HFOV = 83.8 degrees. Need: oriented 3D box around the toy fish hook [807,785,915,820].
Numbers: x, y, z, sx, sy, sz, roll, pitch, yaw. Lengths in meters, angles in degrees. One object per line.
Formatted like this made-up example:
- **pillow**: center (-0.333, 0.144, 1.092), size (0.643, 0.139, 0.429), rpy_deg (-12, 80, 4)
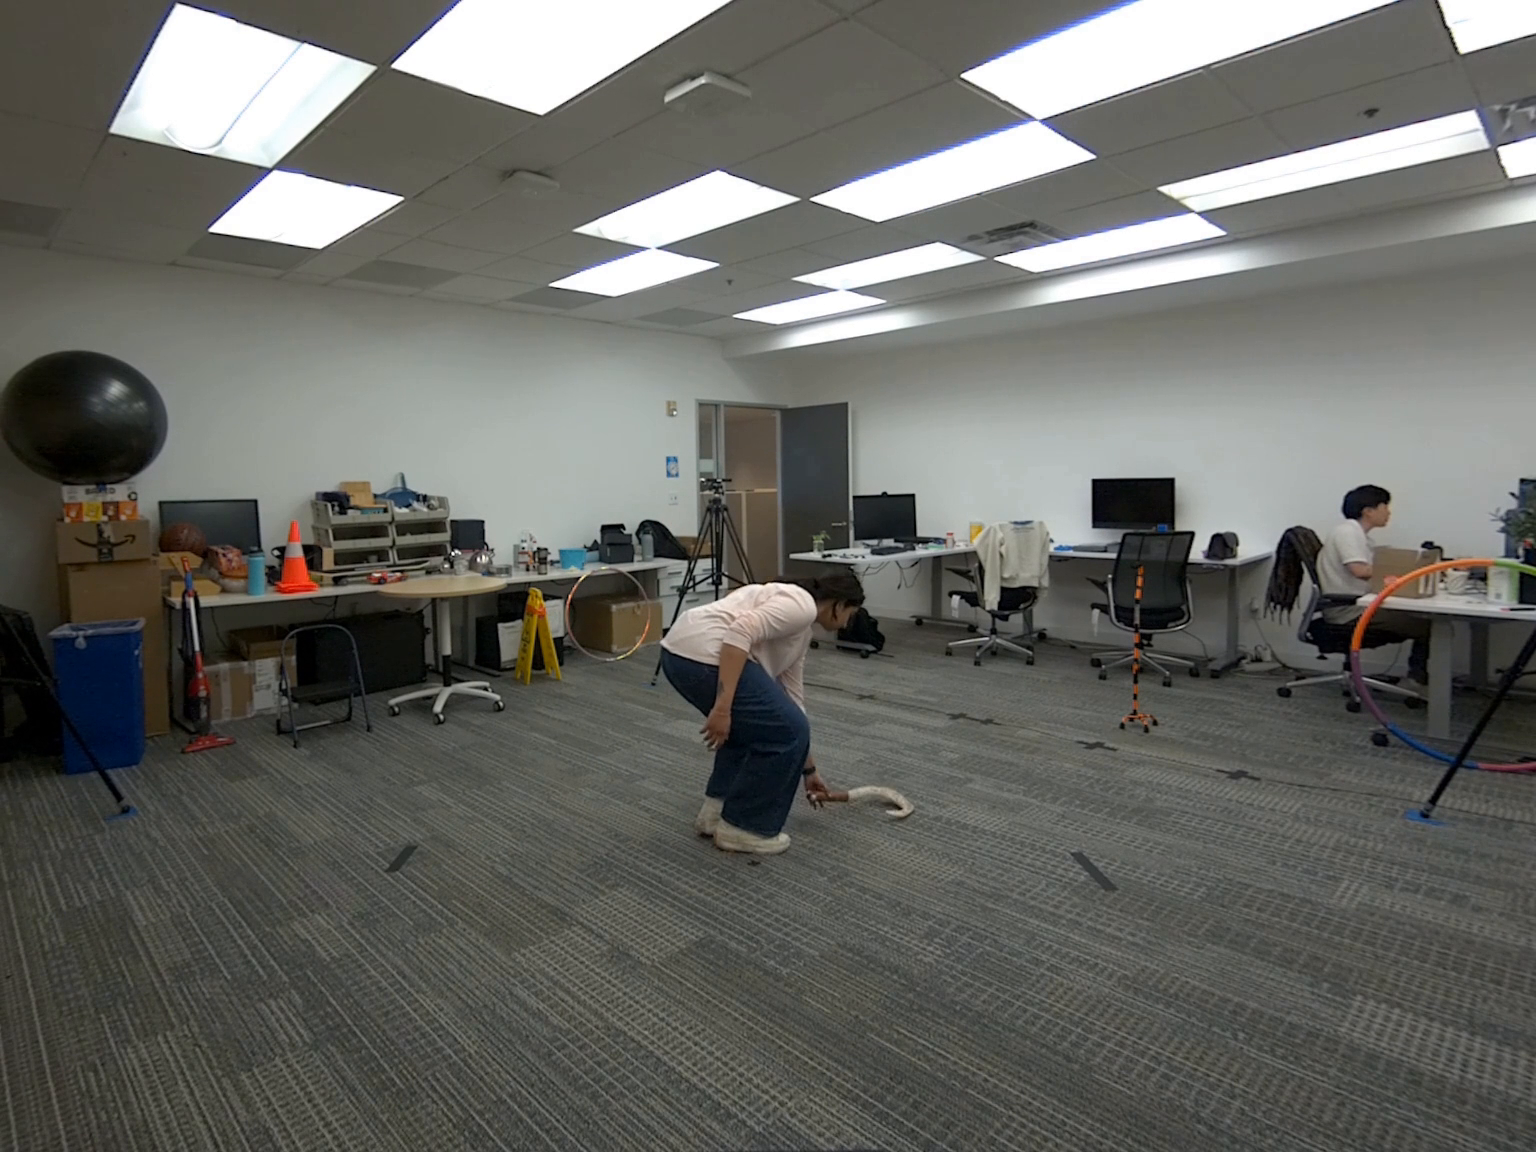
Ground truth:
- **toy fish hook**: center (0.386, 0.918, 3.494), size (0.492, 0.048, 0.232), rpy_deg (8, 7, -33)
